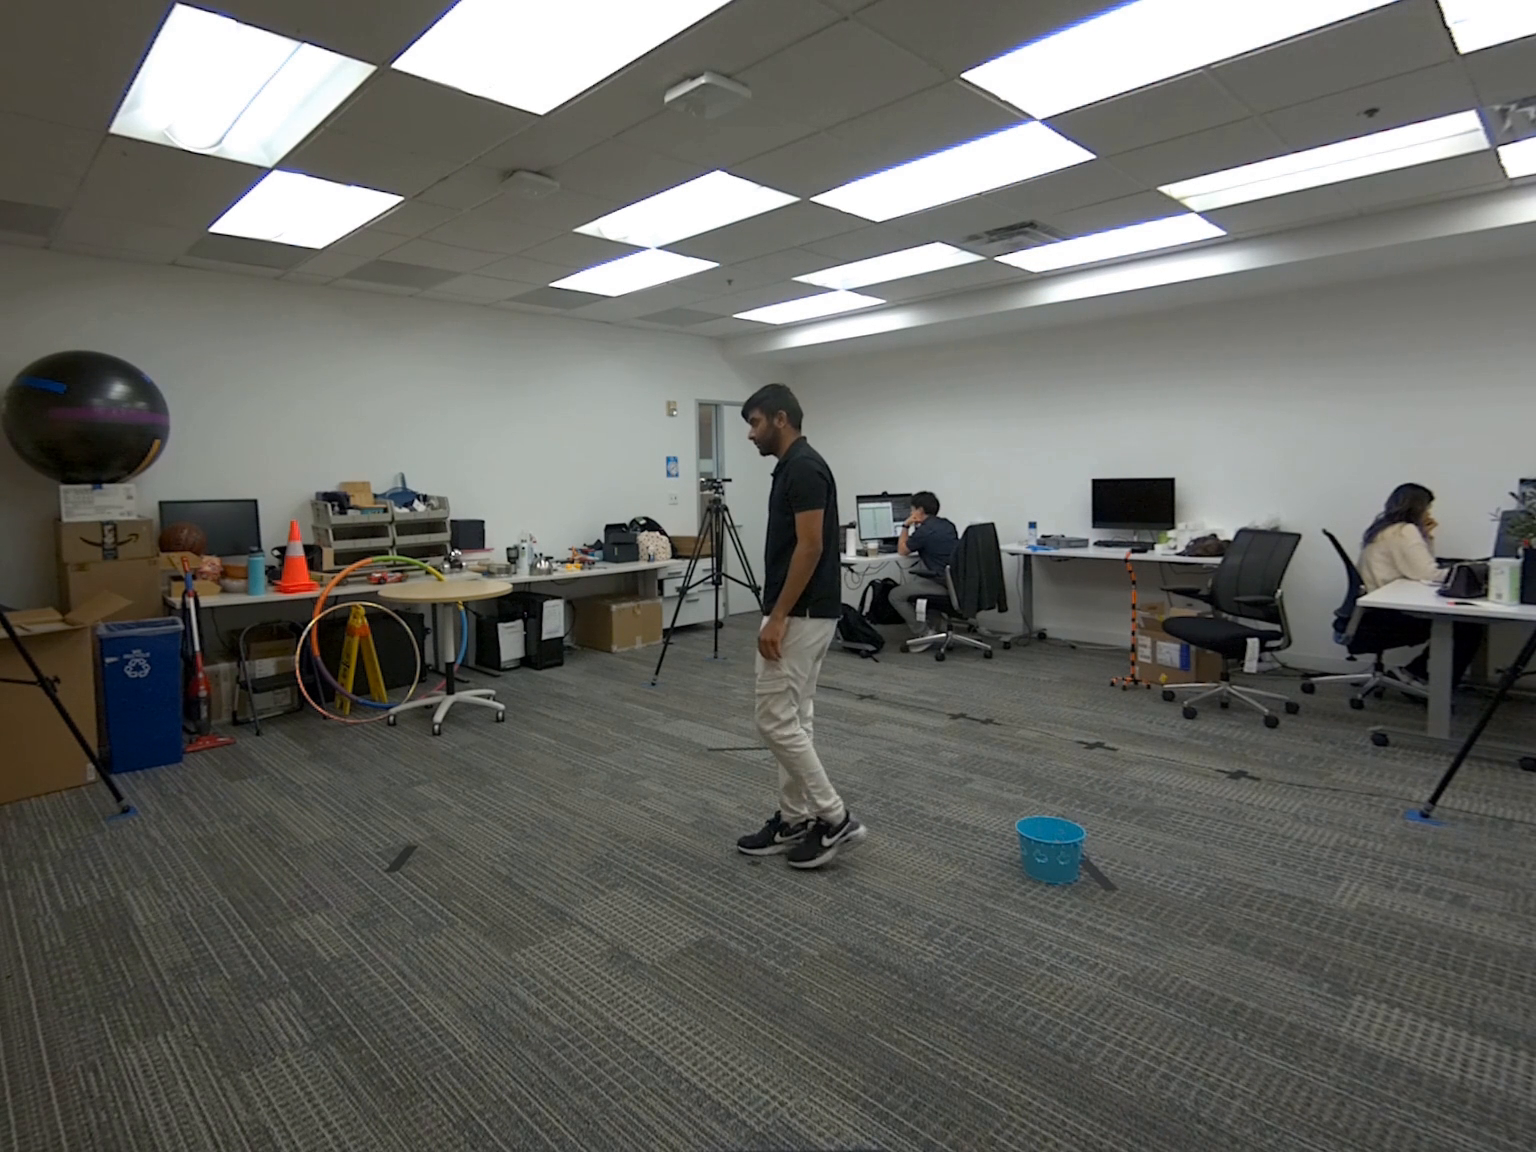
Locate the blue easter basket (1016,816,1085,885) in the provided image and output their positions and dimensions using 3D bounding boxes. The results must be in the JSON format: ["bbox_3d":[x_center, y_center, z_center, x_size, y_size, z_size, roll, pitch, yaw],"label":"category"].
[{"bbox_3d":[0.992,0.957,2.992,0.243,0.155,0.245,-2,5,-2],"label":"blue easter basket"}]
